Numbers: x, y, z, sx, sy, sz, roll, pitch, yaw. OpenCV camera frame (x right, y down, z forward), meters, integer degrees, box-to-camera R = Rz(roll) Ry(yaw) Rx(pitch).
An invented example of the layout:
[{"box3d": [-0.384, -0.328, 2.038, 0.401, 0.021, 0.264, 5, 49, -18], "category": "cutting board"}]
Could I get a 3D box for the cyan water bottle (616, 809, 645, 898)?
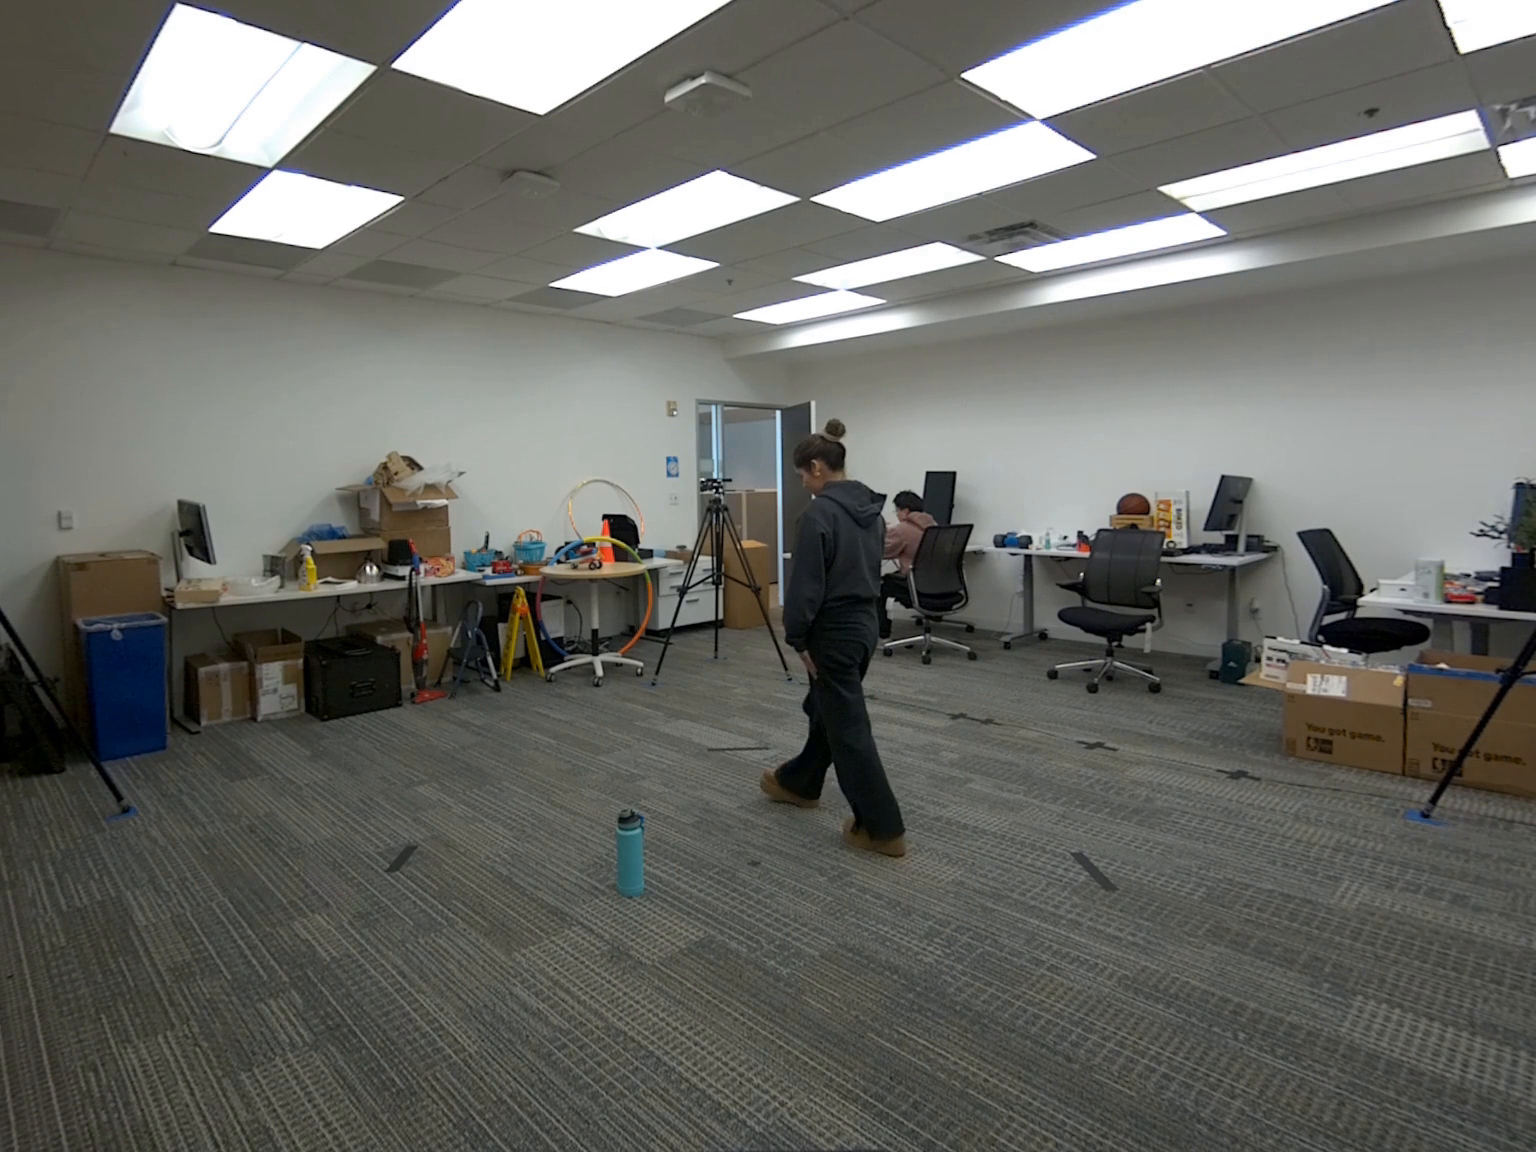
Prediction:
[{"box3d": [-0.466, 0.936, 2.890, 0.092, 0.282, 0.093, 0, 3, -2], "category": "cyan water bottle"}]
